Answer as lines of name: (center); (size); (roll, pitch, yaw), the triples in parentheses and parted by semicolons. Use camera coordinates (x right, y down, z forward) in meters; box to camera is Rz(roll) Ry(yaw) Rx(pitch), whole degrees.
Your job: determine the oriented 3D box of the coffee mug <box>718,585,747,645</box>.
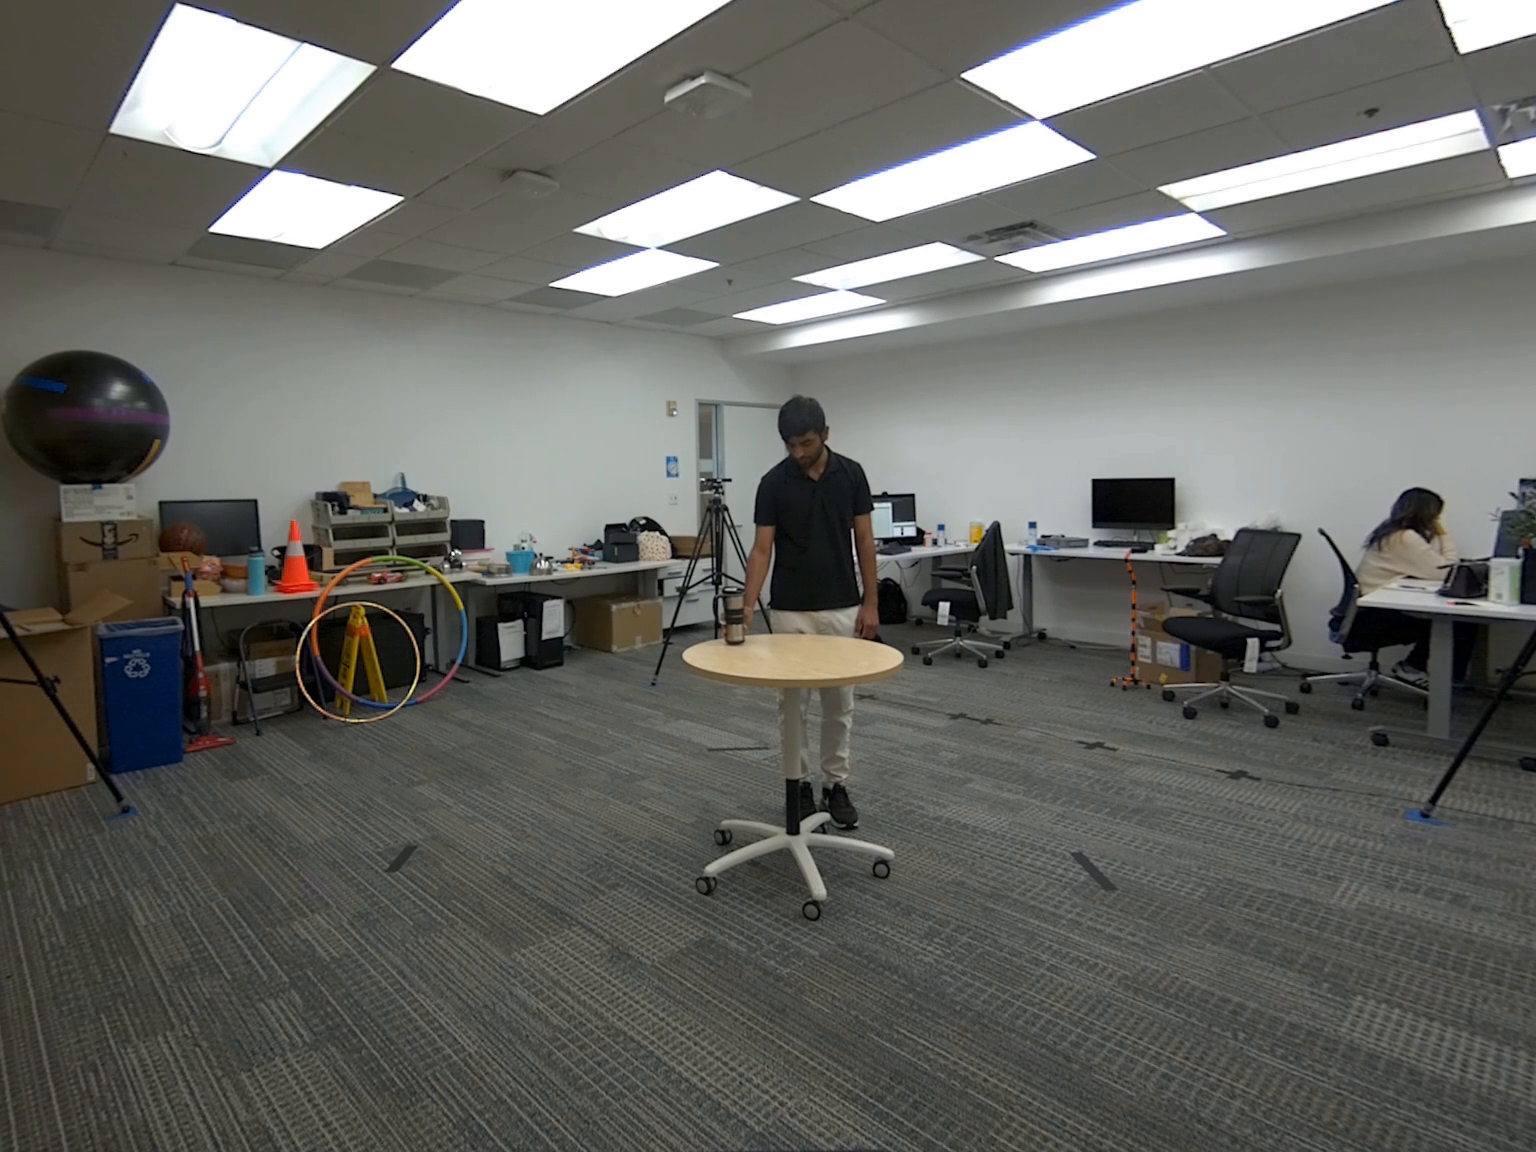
coffee mug: (-0.147, 0.145, 3.160); (0.121, 0.201, 0.089); (0, 8, -7)
